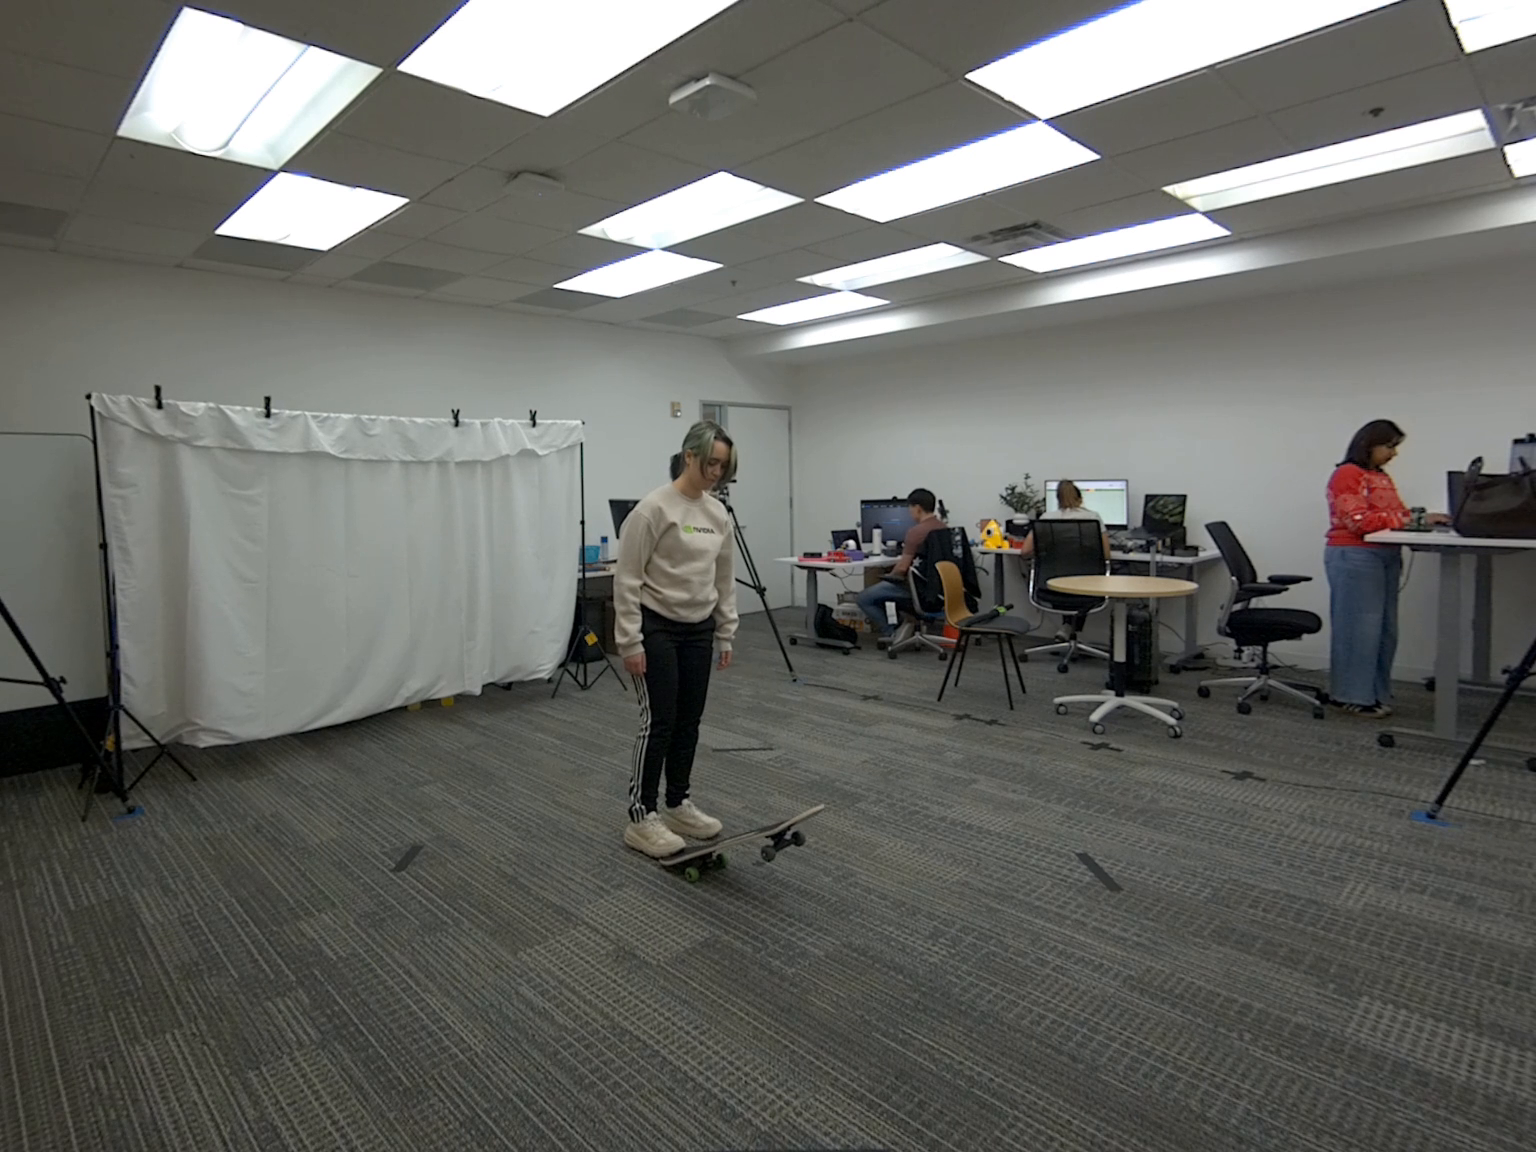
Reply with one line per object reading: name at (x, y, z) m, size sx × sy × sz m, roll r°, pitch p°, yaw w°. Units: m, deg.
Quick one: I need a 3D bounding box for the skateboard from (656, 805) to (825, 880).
skateboard at (-0.086, 0.933, 2.910) m, size 0.188 × 0.112 × 0.792 m, roll -7°, pitch -18°, yaw -47°
